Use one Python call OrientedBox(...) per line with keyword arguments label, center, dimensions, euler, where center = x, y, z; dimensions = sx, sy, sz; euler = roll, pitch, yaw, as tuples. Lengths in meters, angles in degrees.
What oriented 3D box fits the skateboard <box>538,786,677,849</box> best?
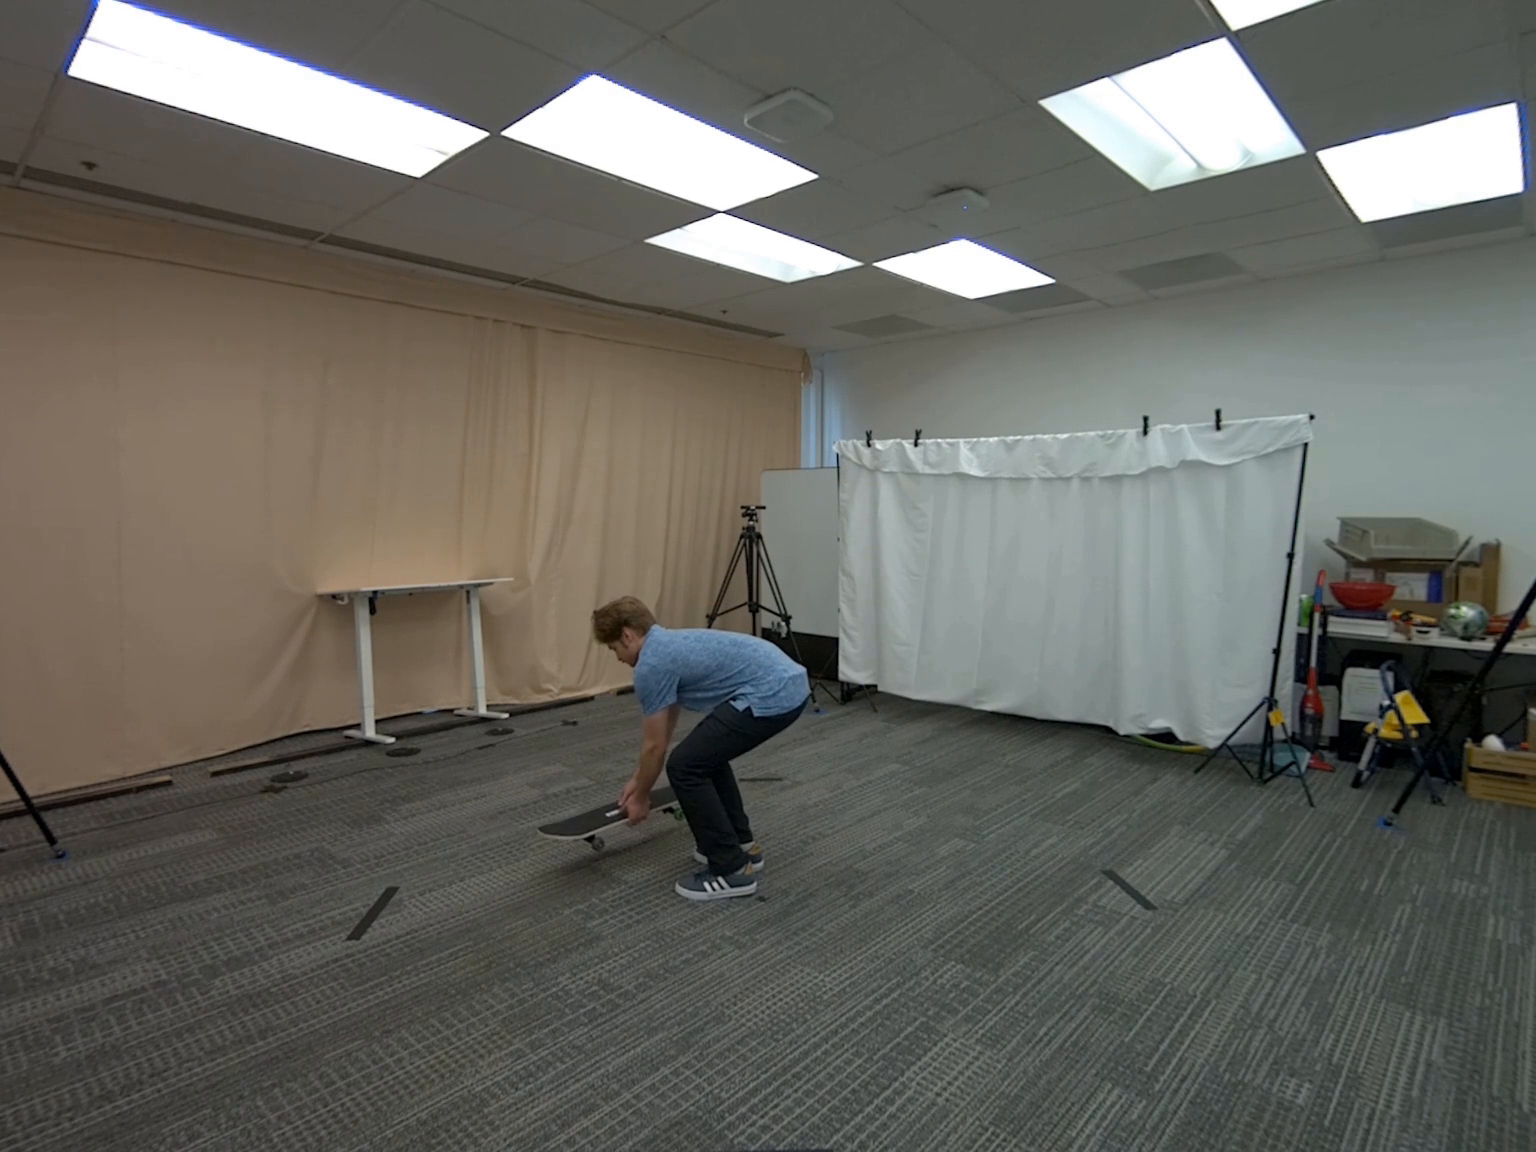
OrientedBox(label="skateboard", center=(-0.566, 0.967, 3.374), dimensions=(0.762, 0.110, 0.200), euler=(-7, 6, -42))
